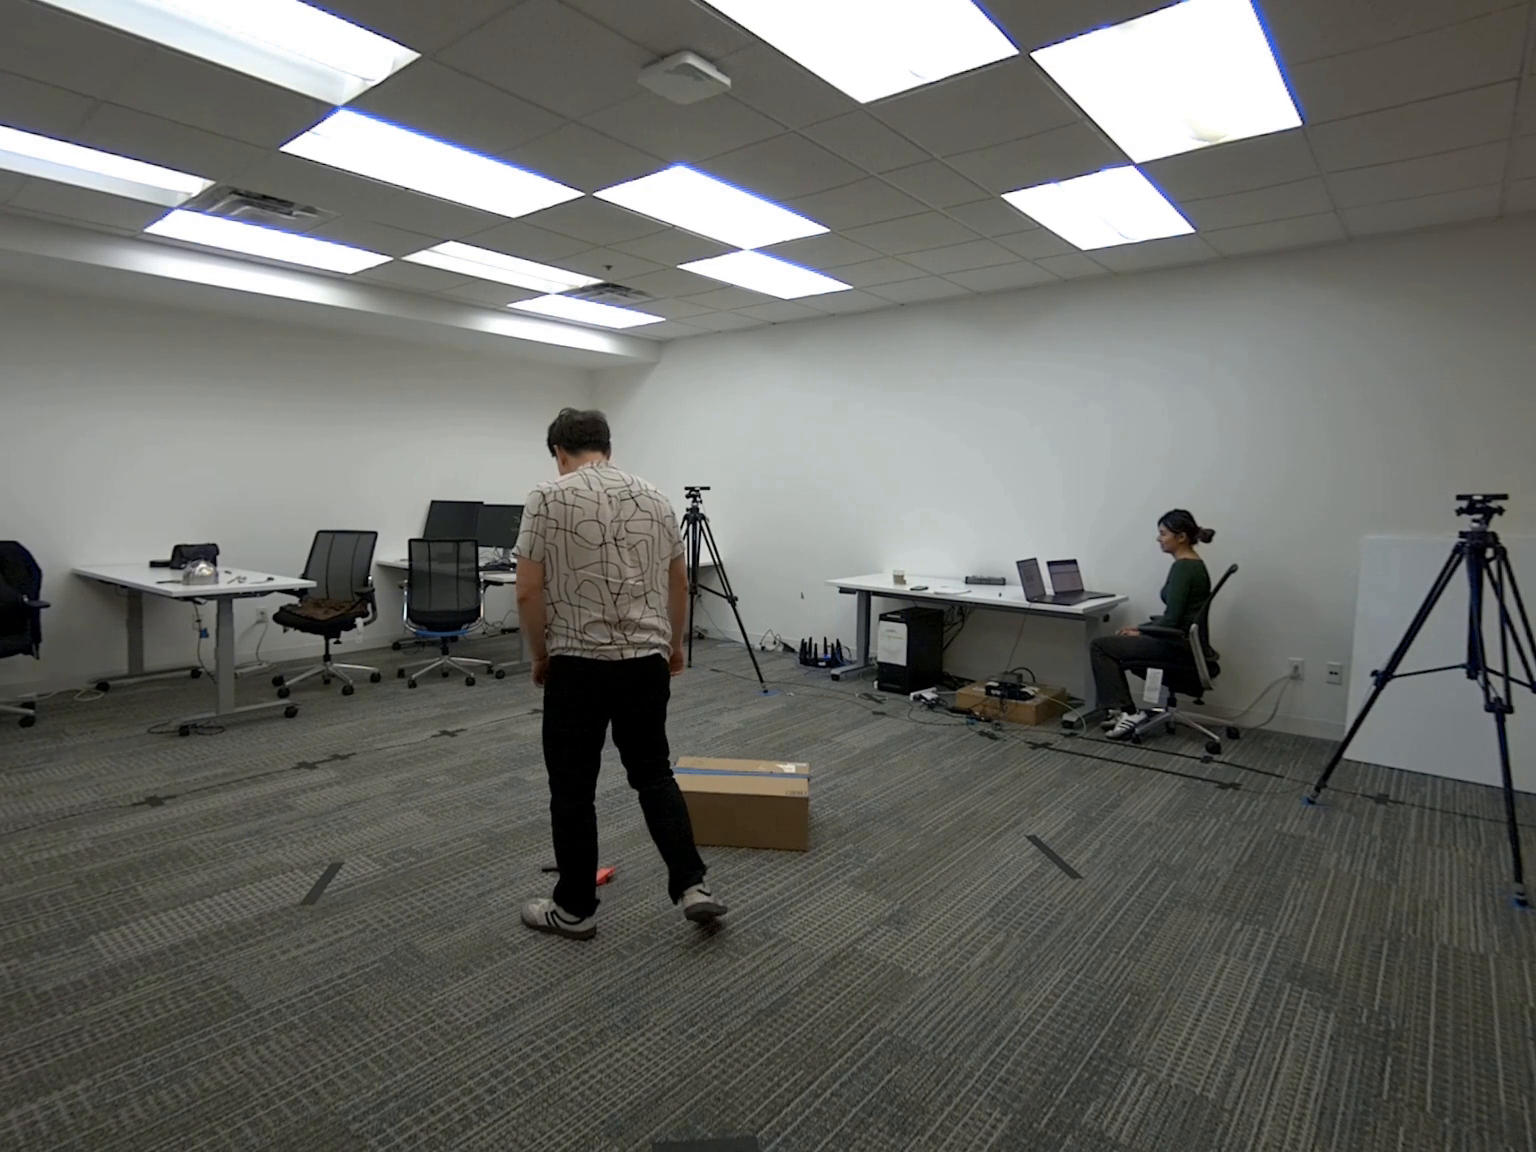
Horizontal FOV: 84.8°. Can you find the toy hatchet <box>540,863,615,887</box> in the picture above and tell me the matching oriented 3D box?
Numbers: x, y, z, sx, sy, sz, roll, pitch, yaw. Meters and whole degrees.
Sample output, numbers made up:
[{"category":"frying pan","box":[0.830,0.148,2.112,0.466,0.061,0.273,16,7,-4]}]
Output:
[{"category":"toy hatchet","box":[-0.697,1.057,3.012,0.272,0.029,0.131,0,8,7]}]
